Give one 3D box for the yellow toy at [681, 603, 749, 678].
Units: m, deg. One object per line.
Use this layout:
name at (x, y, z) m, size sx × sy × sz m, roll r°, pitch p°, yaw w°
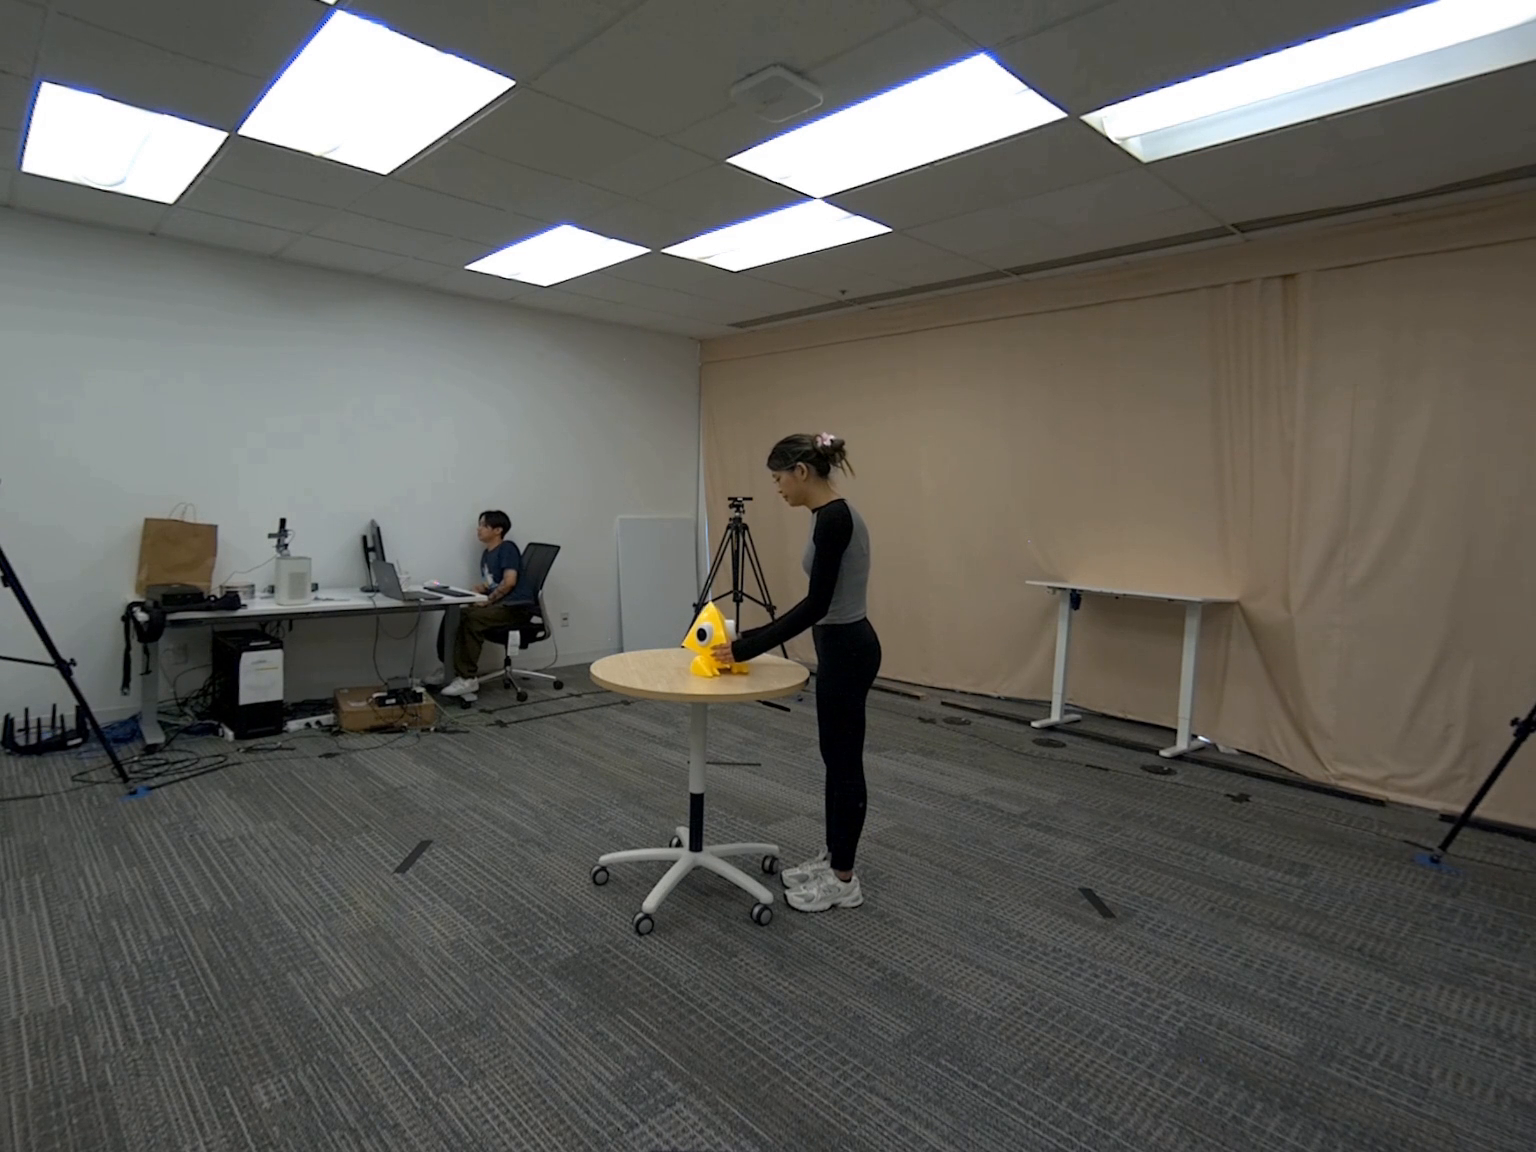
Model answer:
yellow toy at (-0.177, 0.208, 2.915) m, size 0.201 × 0.230 × 0.197 m, roll -5°, pitch 7°, yaw -24°
